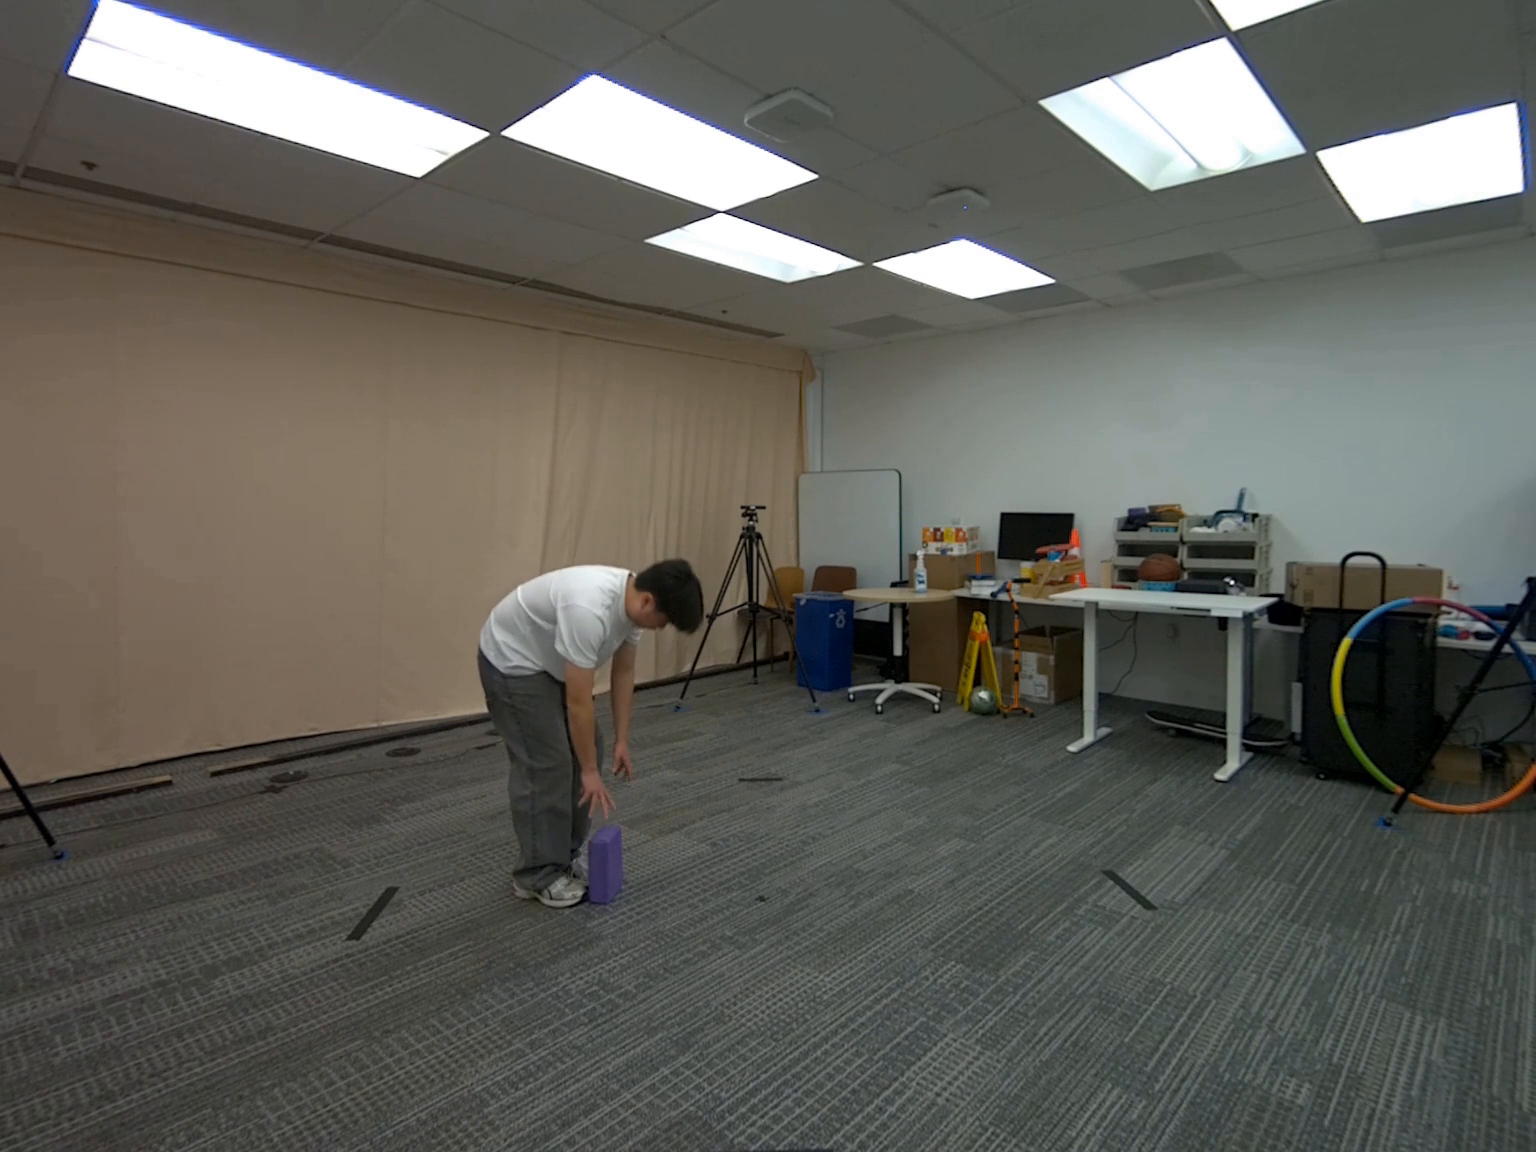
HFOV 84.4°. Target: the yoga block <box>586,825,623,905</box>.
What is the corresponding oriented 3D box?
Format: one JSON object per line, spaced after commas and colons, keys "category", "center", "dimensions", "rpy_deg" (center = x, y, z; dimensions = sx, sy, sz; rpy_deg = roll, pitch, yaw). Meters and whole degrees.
{"category": "yoga block", "center": [-0.570, 1.031, 3.001], "dimensions": [0.077, 0.229, 0.148], "rpy_deg": [4, 4, 7]}
